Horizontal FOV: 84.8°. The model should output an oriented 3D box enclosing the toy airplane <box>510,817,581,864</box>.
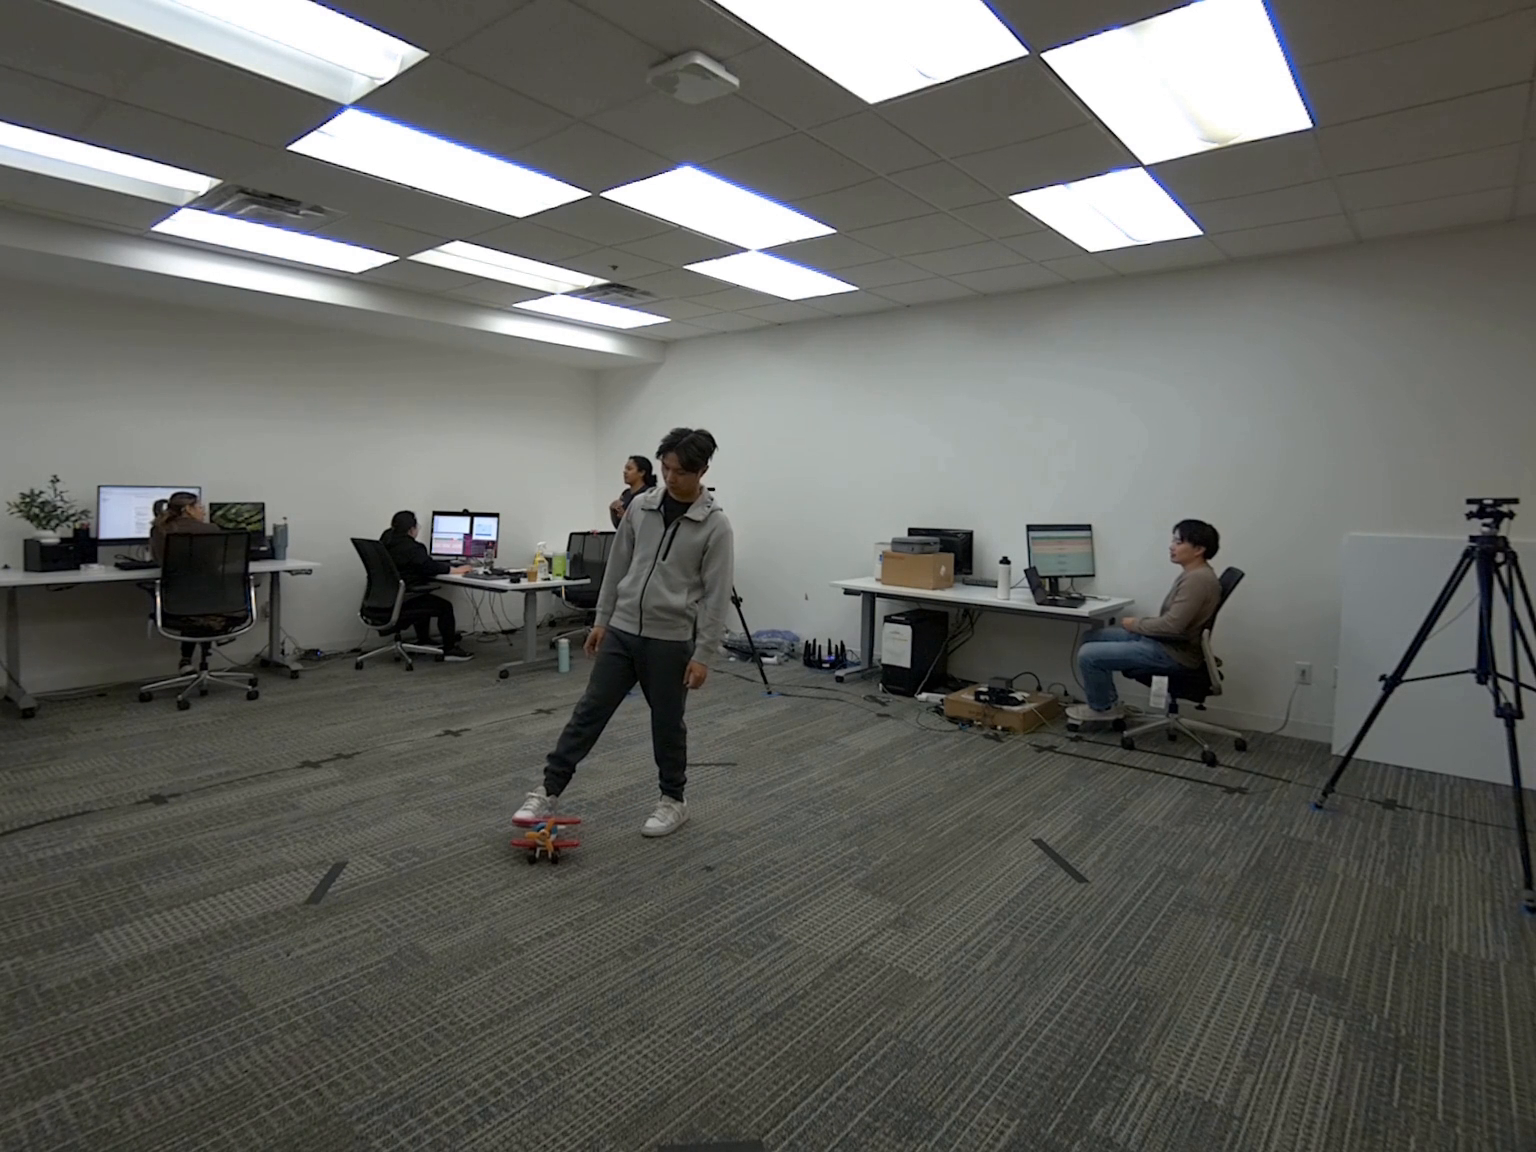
[{"bbox_3d":[-0.865,0.971,3.211,0.244,0.156,0.267,-2,5,-34],"label":"toy airplane"}]
